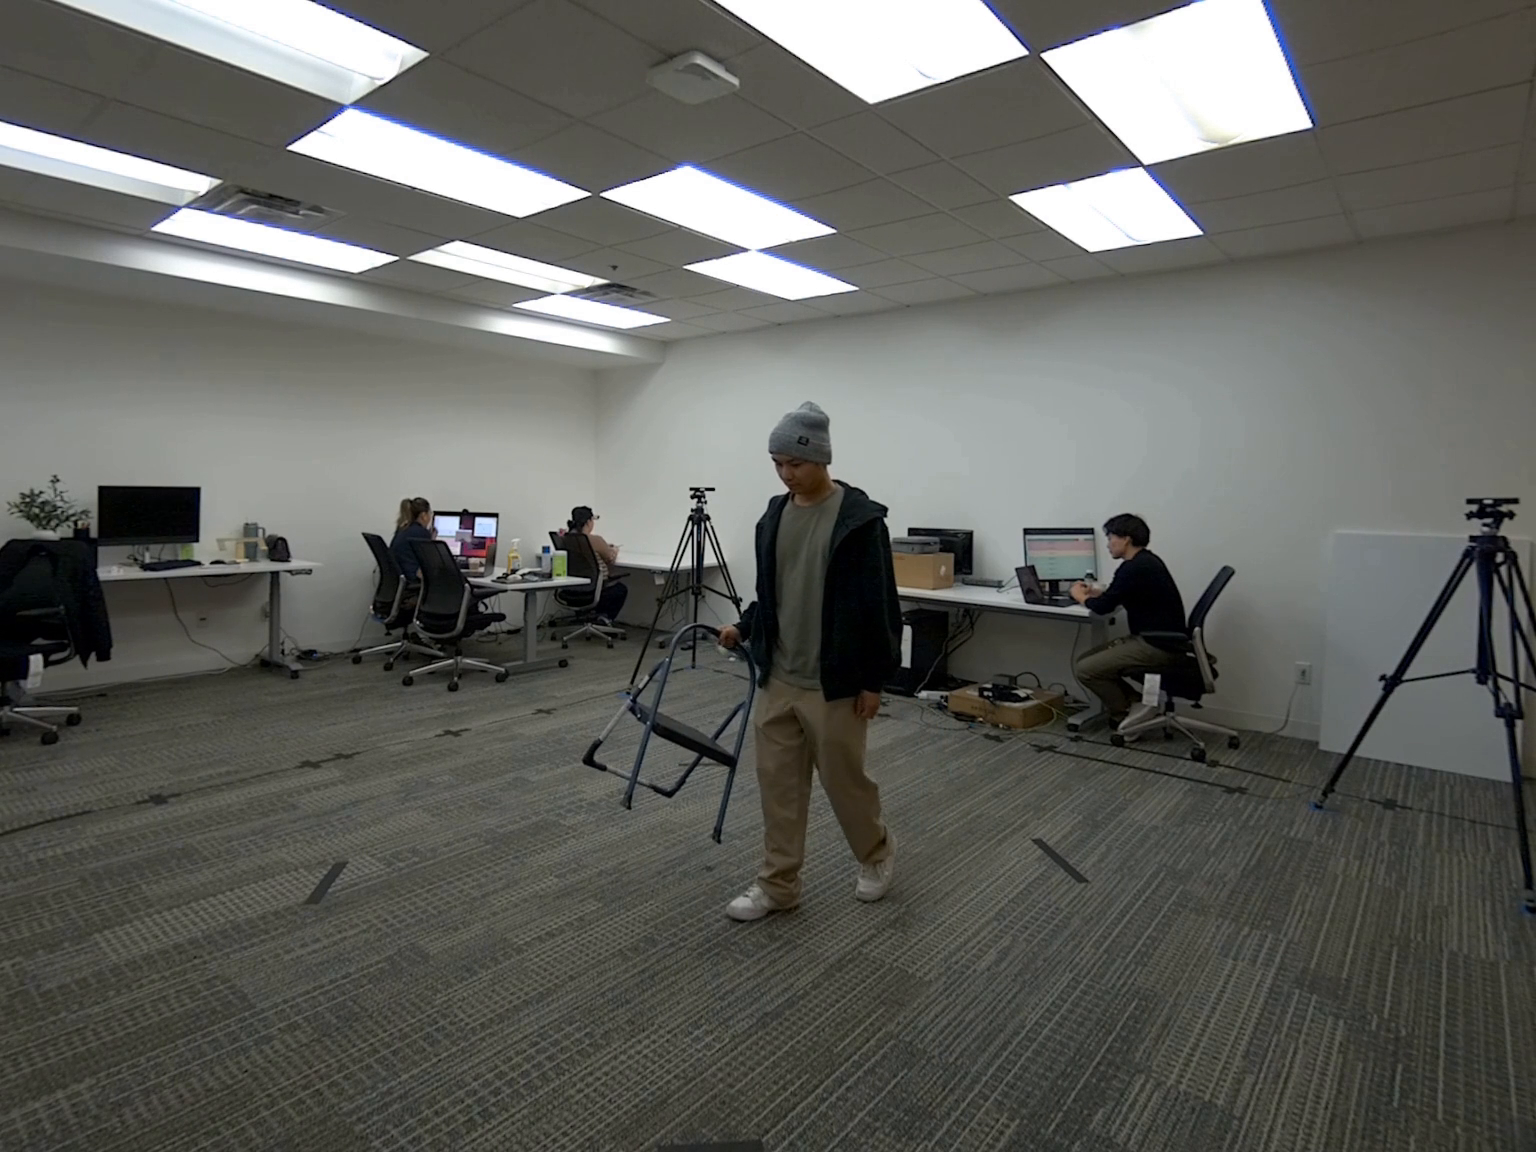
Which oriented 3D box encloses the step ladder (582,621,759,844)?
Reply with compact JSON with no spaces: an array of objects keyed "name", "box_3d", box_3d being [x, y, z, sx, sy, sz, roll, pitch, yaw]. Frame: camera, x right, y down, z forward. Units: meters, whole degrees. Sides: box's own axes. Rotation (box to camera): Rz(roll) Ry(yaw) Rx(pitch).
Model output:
[{"name":"step ladder","box_3d":[-0.262,0.482,2.864,0.414,0.607,0.362,33,-8,-36]}]
